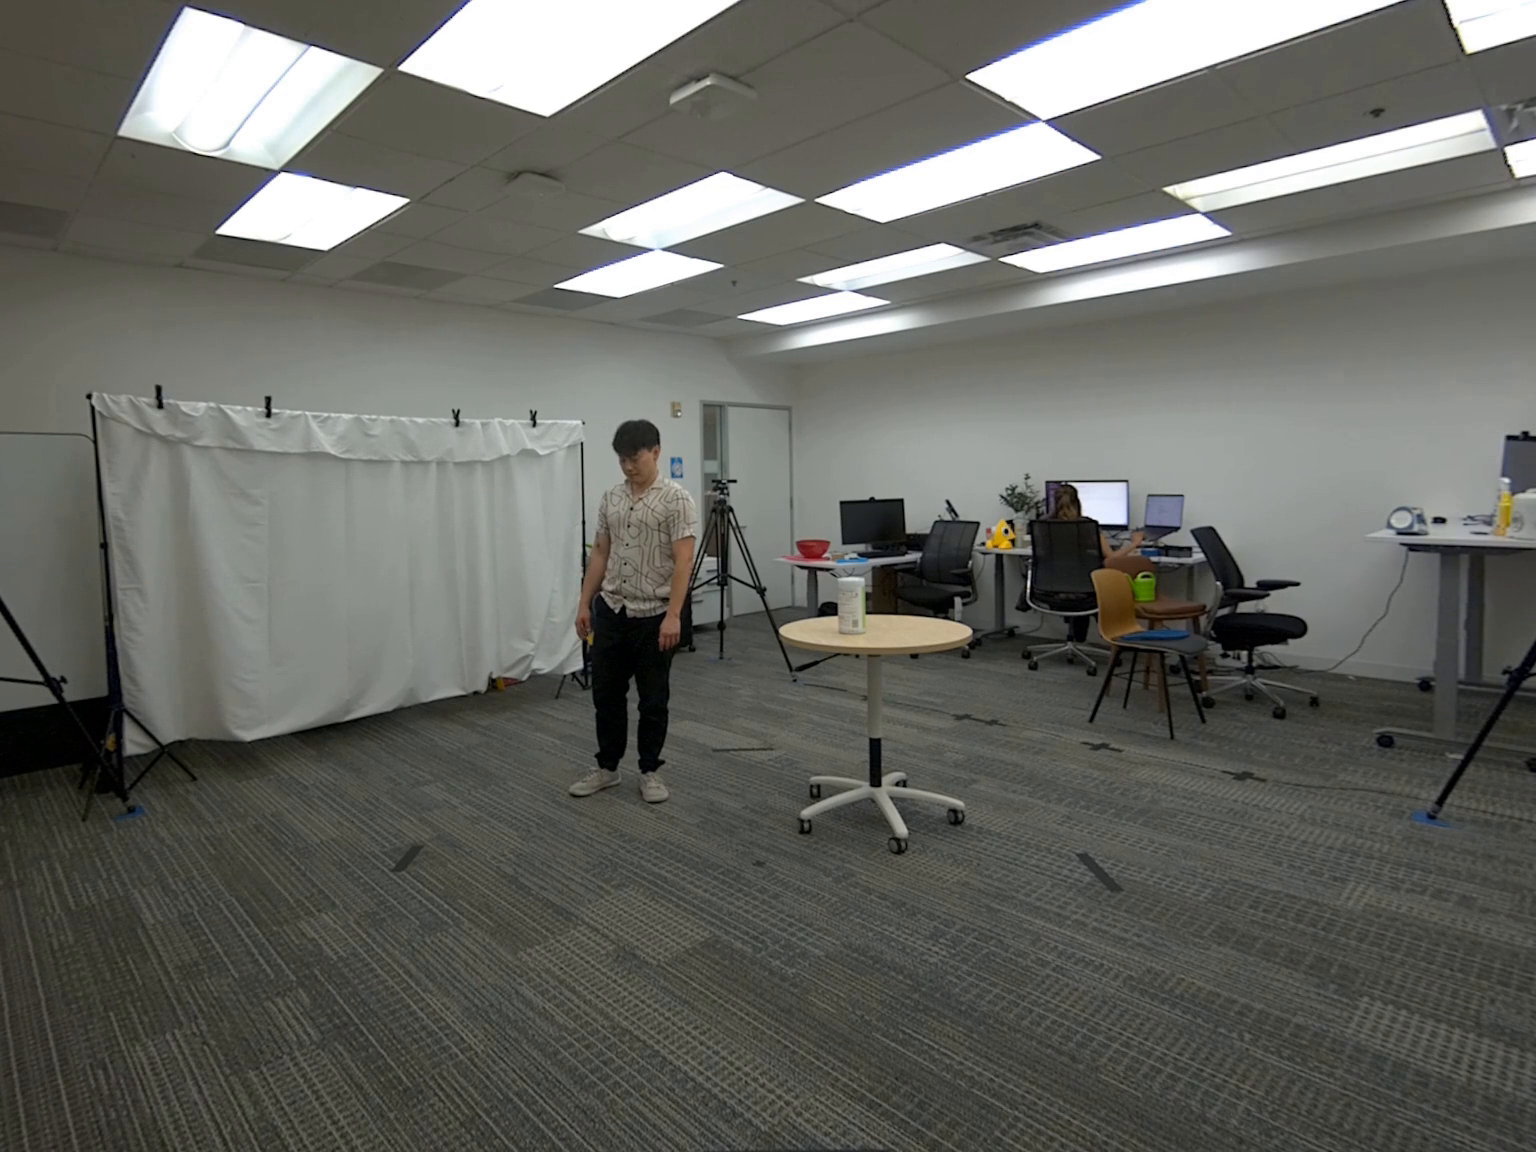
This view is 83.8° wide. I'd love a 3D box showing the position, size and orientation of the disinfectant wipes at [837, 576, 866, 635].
[{"bbox_3d":[0.338,0.118,3.393,0.118,0.217,0.118,-1,3,-2],"label":"disinfectant wipes"}]
